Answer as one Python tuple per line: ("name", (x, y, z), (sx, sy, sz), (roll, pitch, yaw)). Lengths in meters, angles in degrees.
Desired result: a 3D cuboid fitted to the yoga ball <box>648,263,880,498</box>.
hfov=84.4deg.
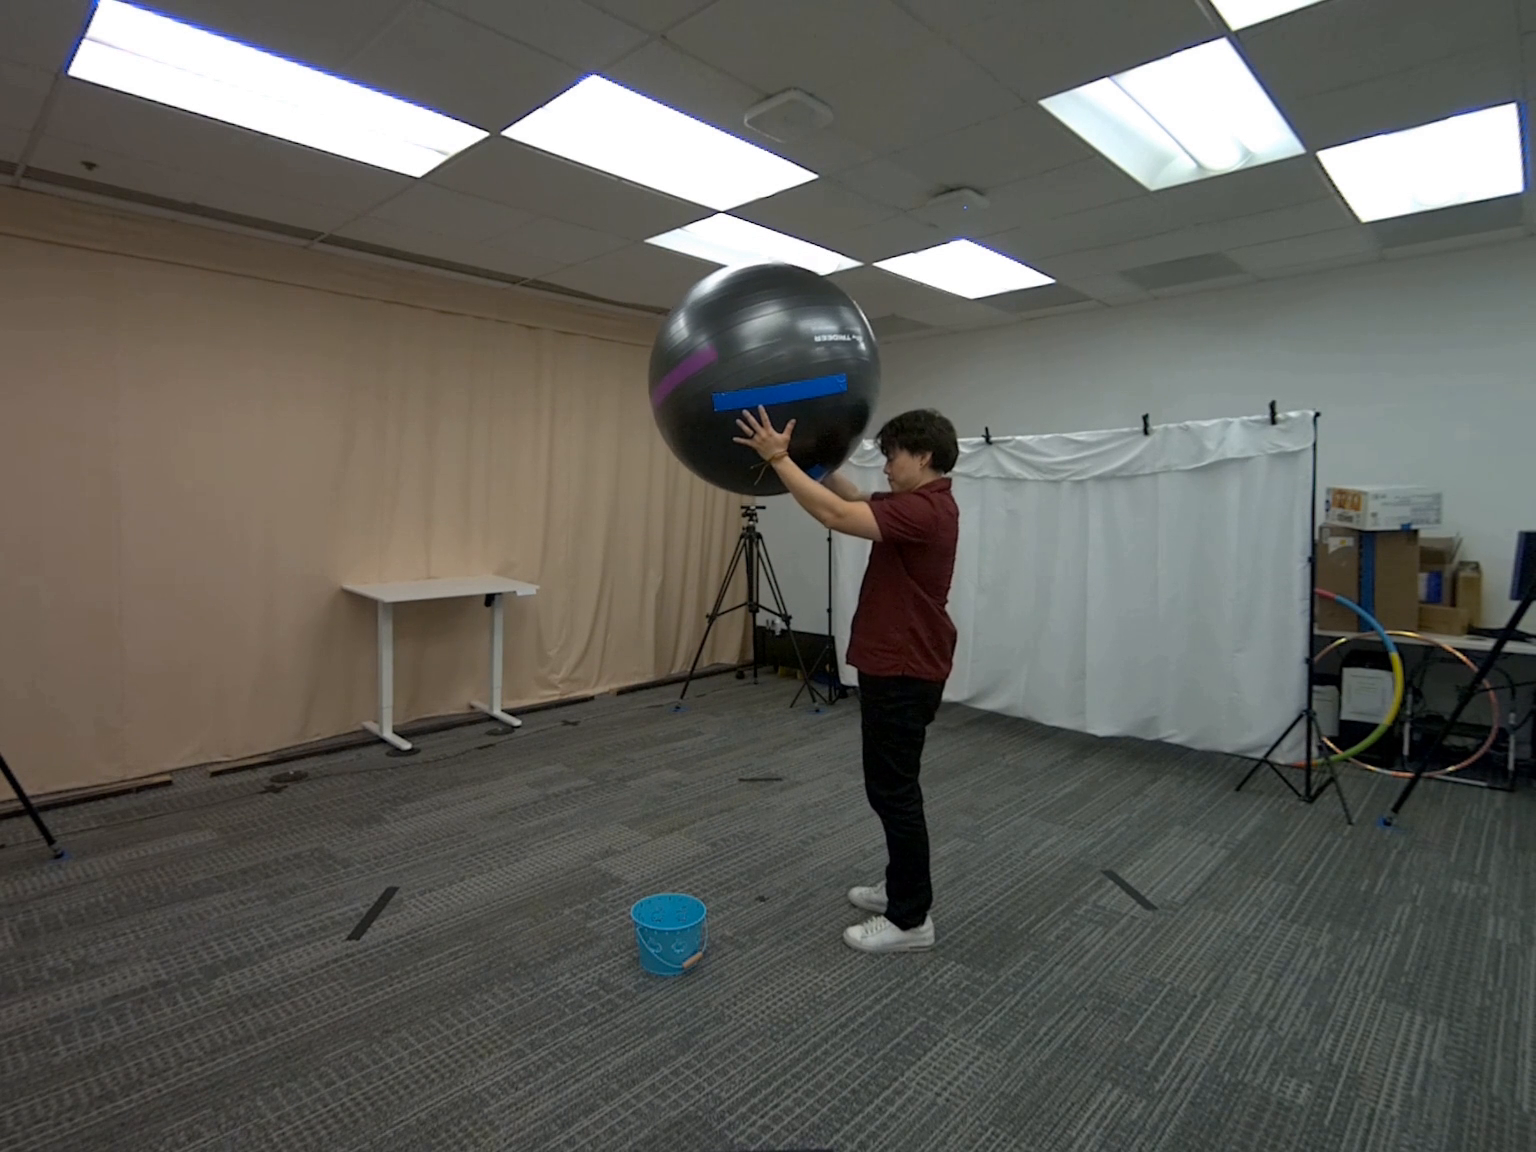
("yoga ball", (-0.015, -0.639, 2.781), (0.757, 0.756, 0.760), (0, 4, -2))
